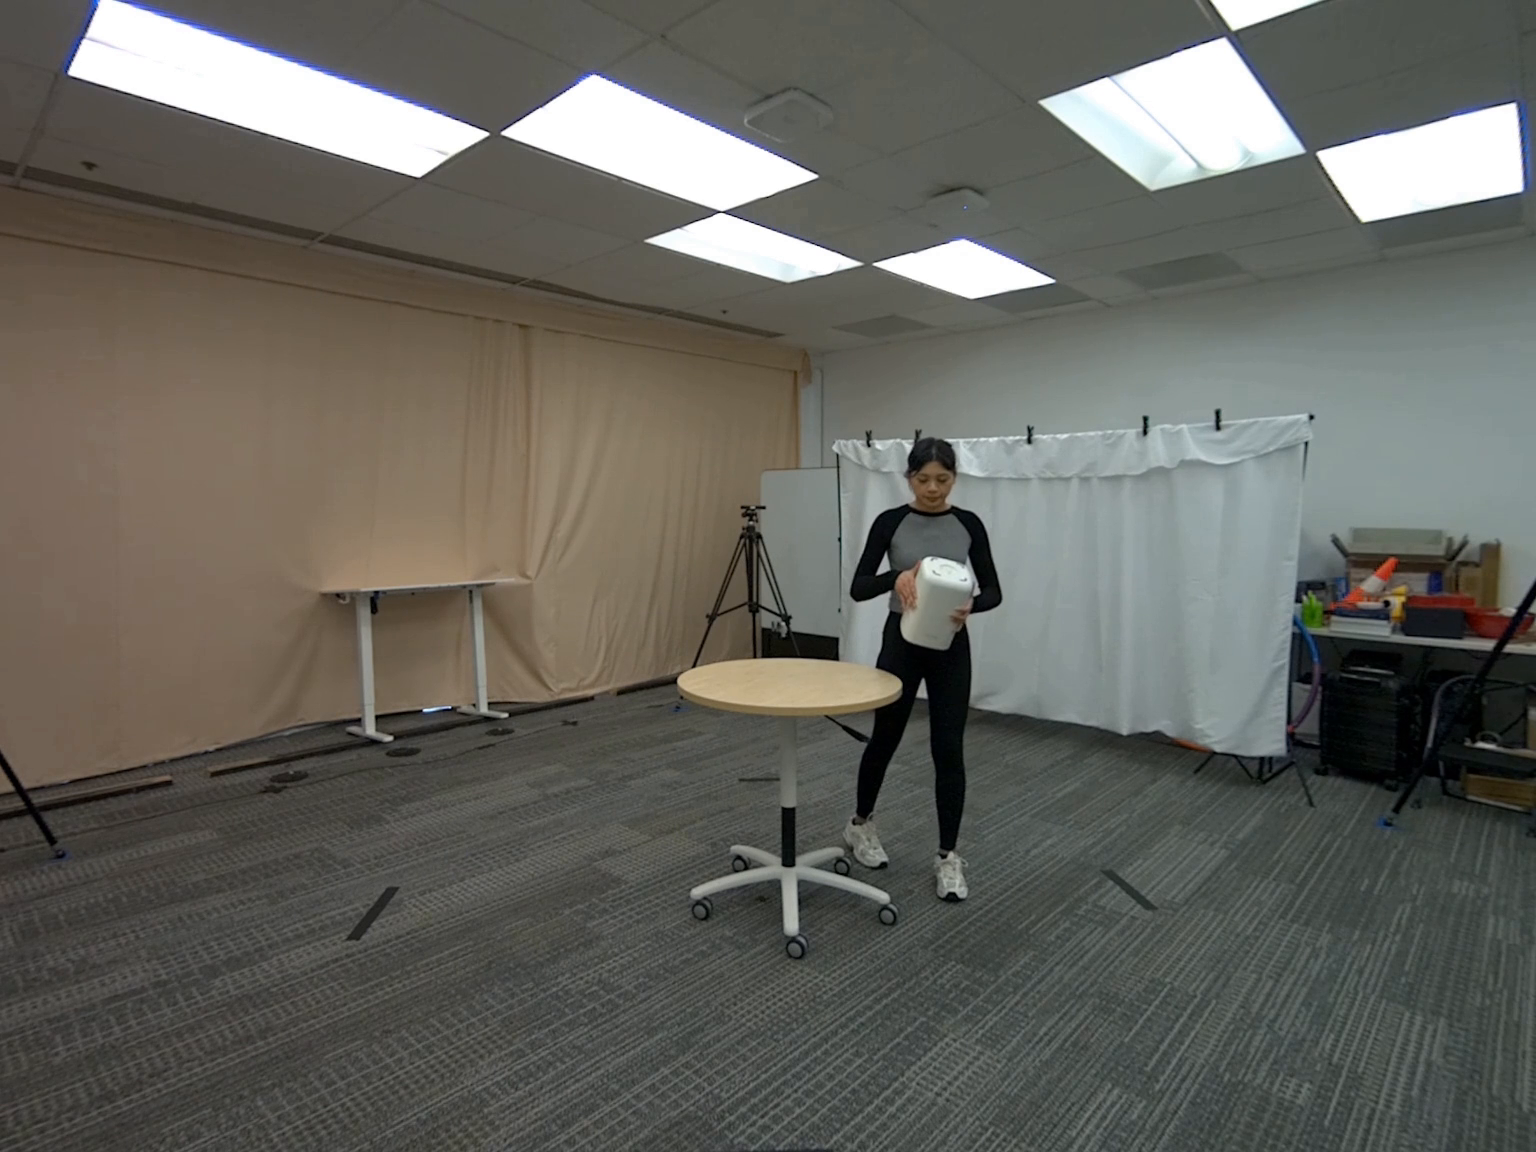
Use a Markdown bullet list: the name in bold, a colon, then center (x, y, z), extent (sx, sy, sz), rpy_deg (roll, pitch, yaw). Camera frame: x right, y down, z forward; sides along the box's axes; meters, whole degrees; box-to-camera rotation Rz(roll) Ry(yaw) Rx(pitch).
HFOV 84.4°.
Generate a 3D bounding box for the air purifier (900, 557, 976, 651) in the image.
- **air purifier**: center (0.568, 0.087, 2.850), extent (0.172, 0.263, 0.172), rpy_deg (14, 29, 2)
